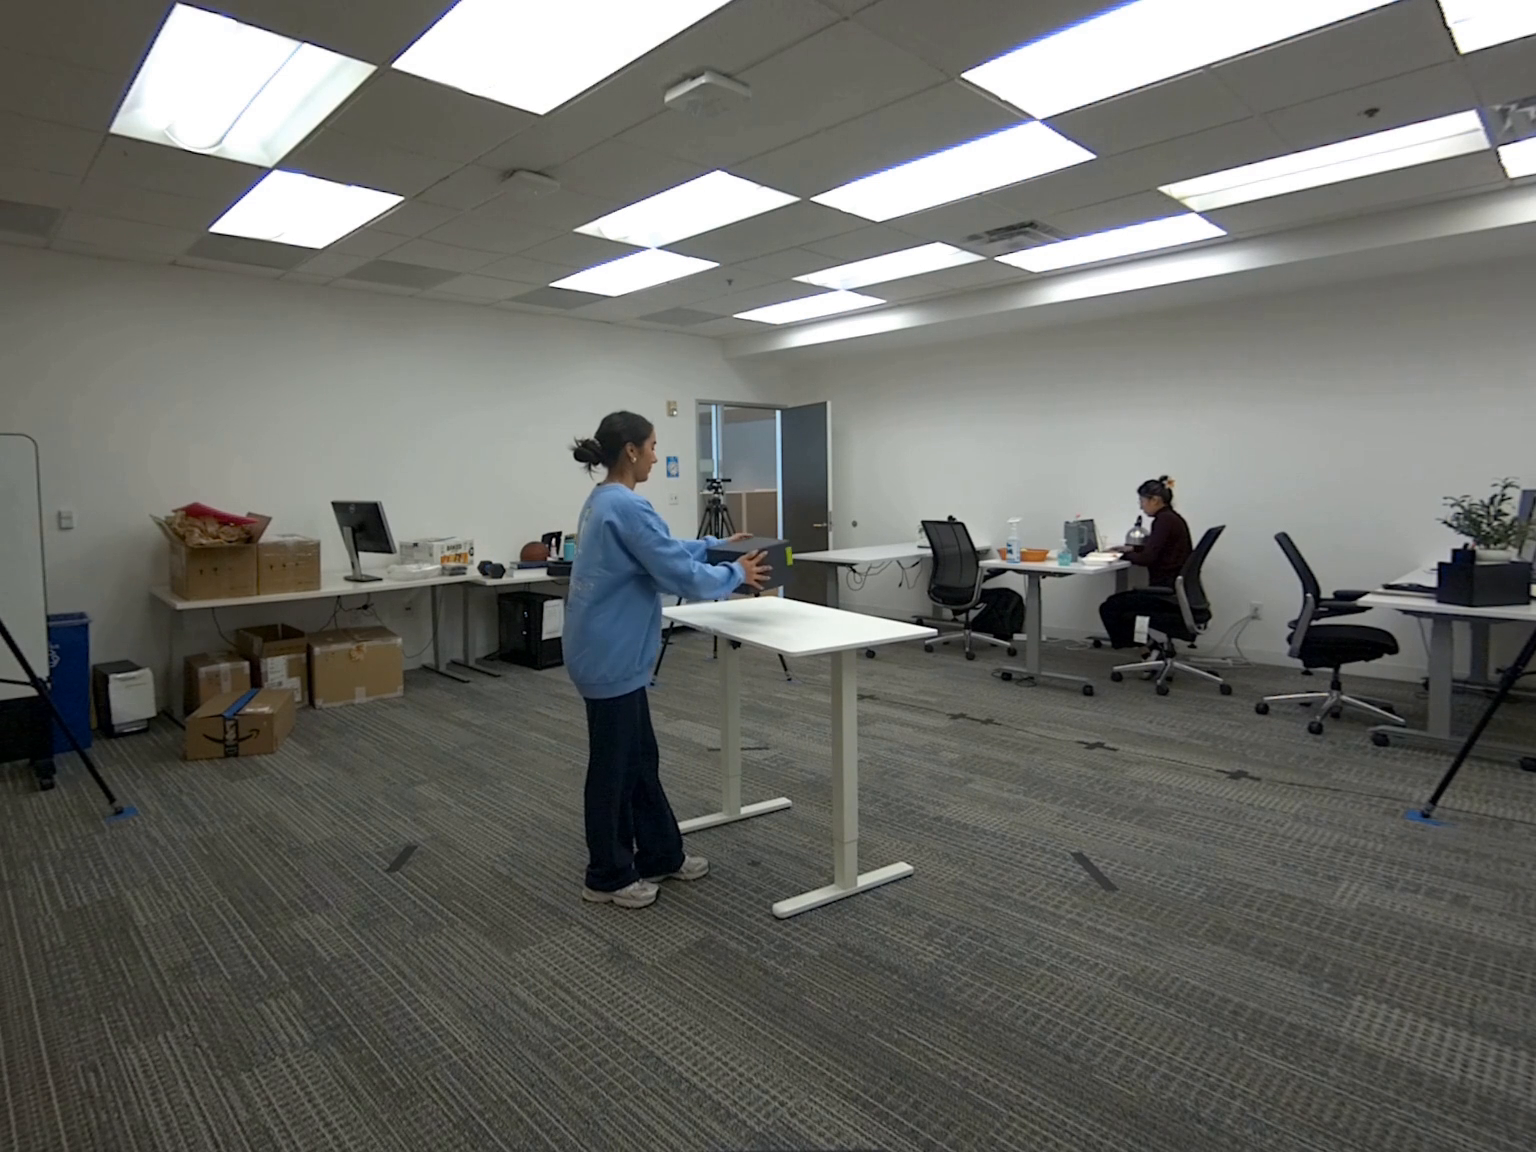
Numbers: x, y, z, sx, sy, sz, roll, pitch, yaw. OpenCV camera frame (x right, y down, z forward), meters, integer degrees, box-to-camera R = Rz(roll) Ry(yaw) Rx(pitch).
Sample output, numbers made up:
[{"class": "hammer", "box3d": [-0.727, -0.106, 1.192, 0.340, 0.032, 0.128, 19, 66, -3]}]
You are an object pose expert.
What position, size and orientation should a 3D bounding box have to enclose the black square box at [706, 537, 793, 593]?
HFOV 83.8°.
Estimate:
[{"class": "black square box", "box3d": [-0.077, -0.029, 3.105, 0.212, 0.154, 0.235, -14, 13, -37]}]
